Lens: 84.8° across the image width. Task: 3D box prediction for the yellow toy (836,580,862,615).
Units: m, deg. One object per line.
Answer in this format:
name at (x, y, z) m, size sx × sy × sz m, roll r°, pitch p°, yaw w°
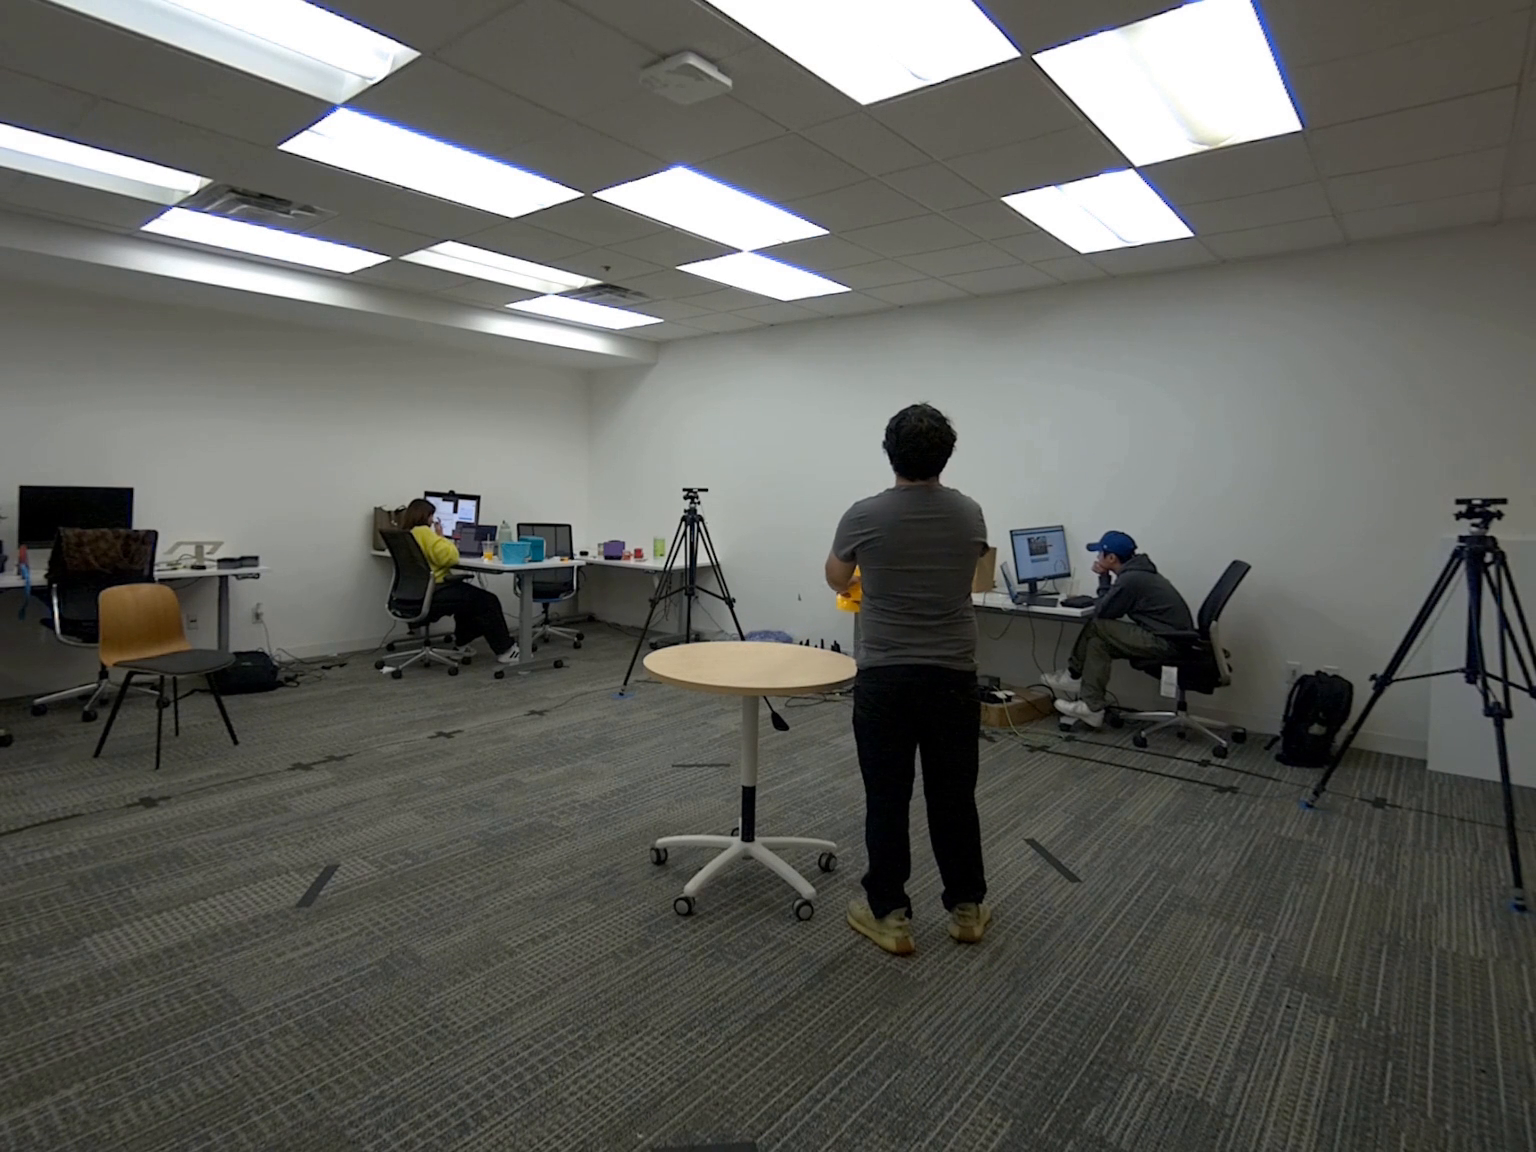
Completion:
yellow toy at (0.358, 0.010, 3.193) m, size 0.203 × 0.229 × 0.196 m, roll 2°, pitch 7°, yaw -7°
